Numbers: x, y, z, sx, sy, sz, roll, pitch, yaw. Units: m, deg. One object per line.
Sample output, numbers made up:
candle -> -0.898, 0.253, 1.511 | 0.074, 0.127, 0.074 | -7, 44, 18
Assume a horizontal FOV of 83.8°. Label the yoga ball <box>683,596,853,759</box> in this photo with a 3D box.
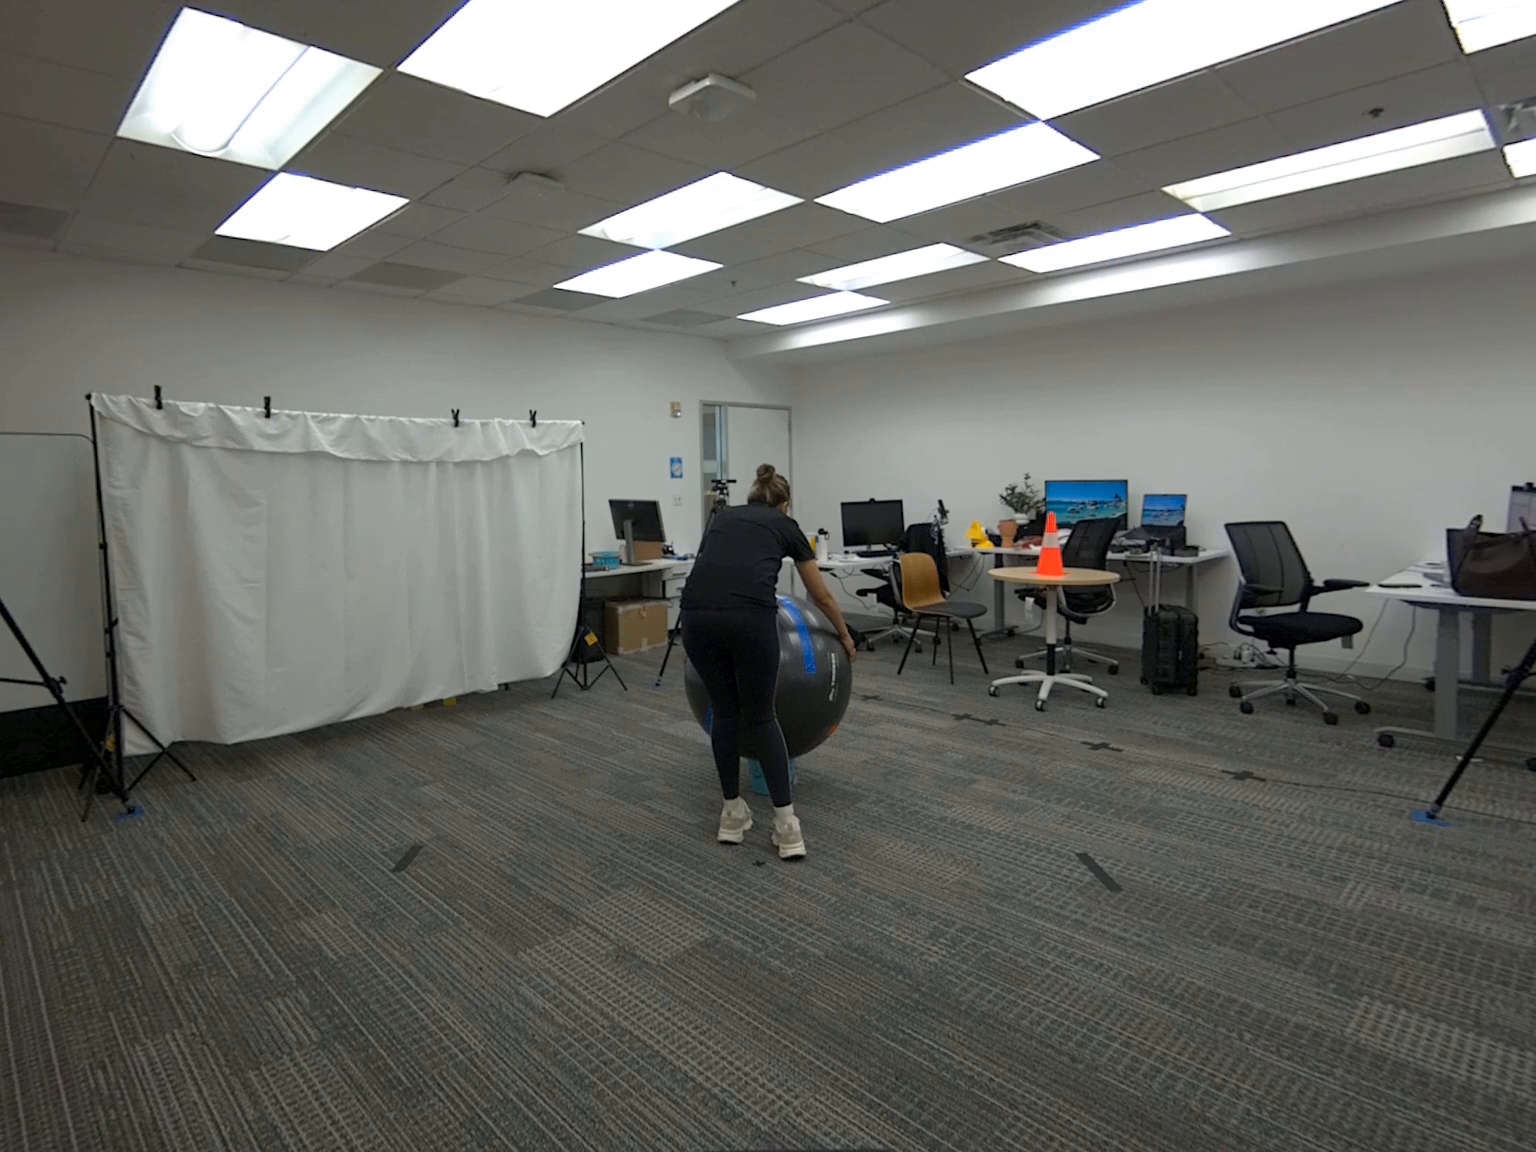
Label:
yoga ball -> -0.006, 0.450, 3.868 | 0.757, 0.755, 0.762 | -1, 5, -2
